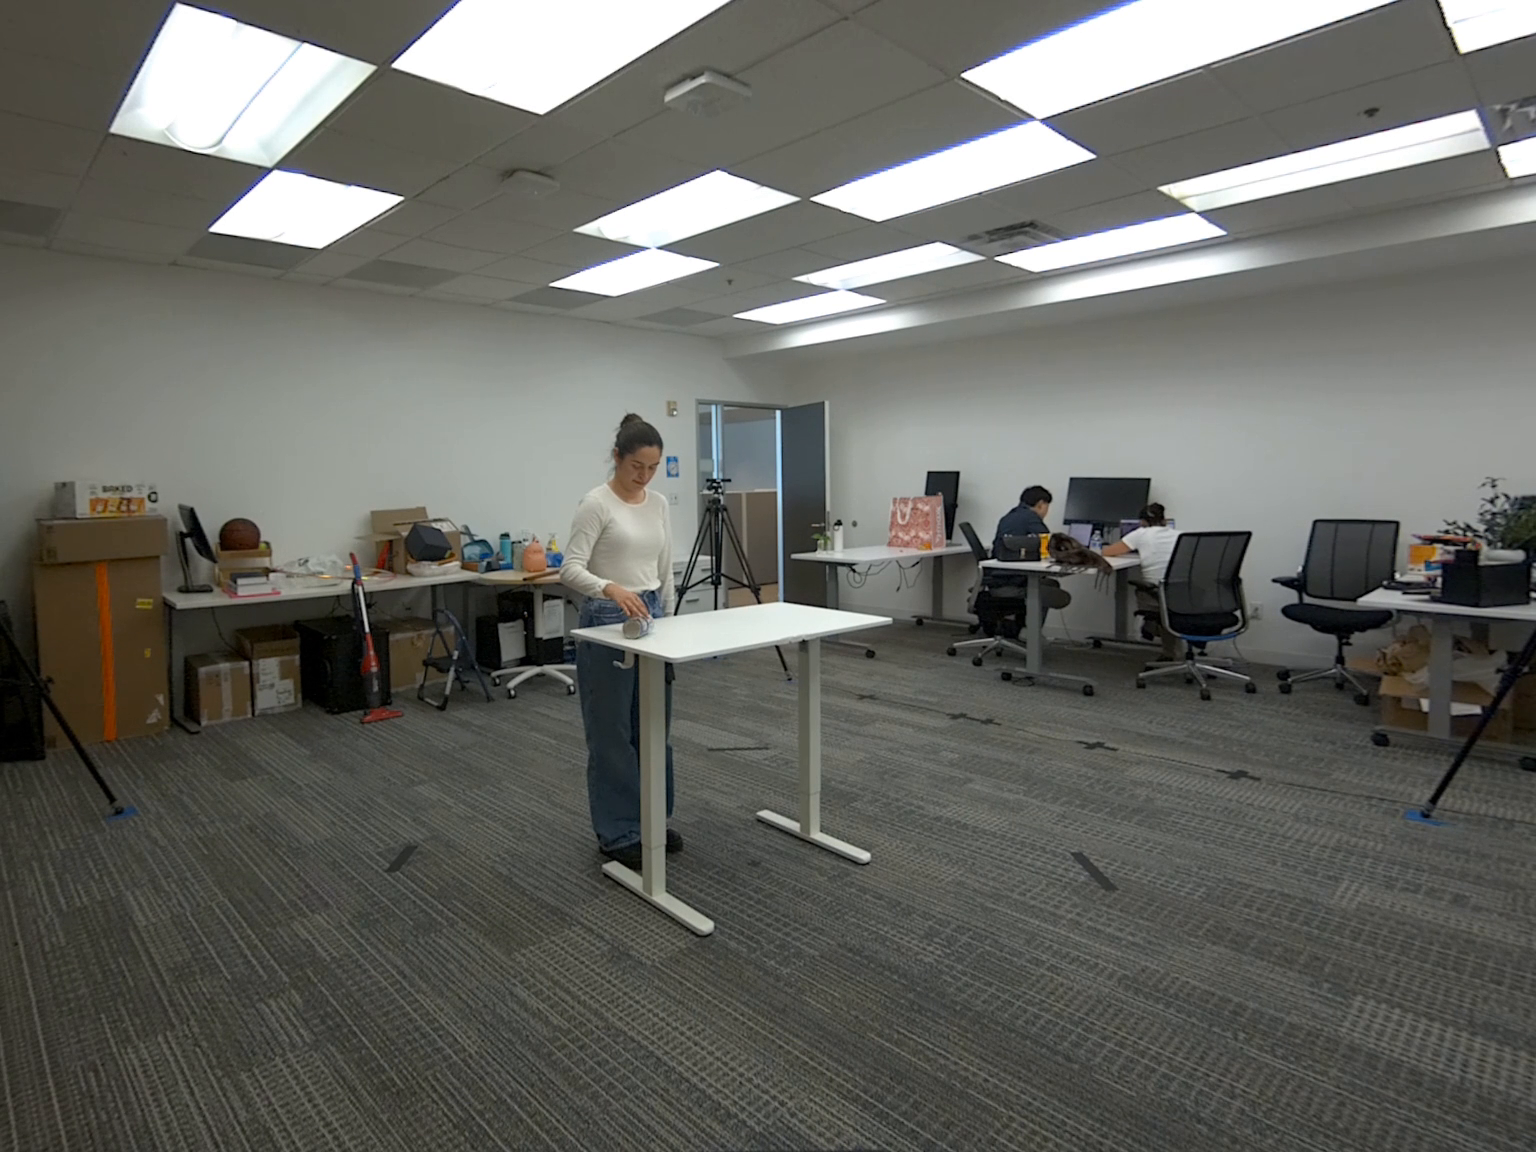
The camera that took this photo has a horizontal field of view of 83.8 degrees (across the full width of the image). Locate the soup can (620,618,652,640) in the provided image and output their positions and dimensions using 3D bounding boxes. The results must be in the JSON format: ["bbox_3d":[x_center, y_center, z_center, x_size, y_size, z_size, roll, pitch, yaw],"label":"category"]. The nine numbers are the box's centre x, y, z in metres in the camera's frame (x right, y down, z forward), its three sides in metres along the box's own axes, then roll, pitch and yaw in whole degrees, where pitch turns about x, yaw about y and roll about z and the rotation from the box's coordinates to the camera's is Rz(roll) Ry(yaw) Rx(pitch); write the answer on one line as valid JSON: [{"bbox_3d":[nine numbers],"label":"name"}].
[{"bbox_3d":[-0.432,0.170,2.818,0.067,0.067,0.121,-1,3,3],"label":"soup can"}]
